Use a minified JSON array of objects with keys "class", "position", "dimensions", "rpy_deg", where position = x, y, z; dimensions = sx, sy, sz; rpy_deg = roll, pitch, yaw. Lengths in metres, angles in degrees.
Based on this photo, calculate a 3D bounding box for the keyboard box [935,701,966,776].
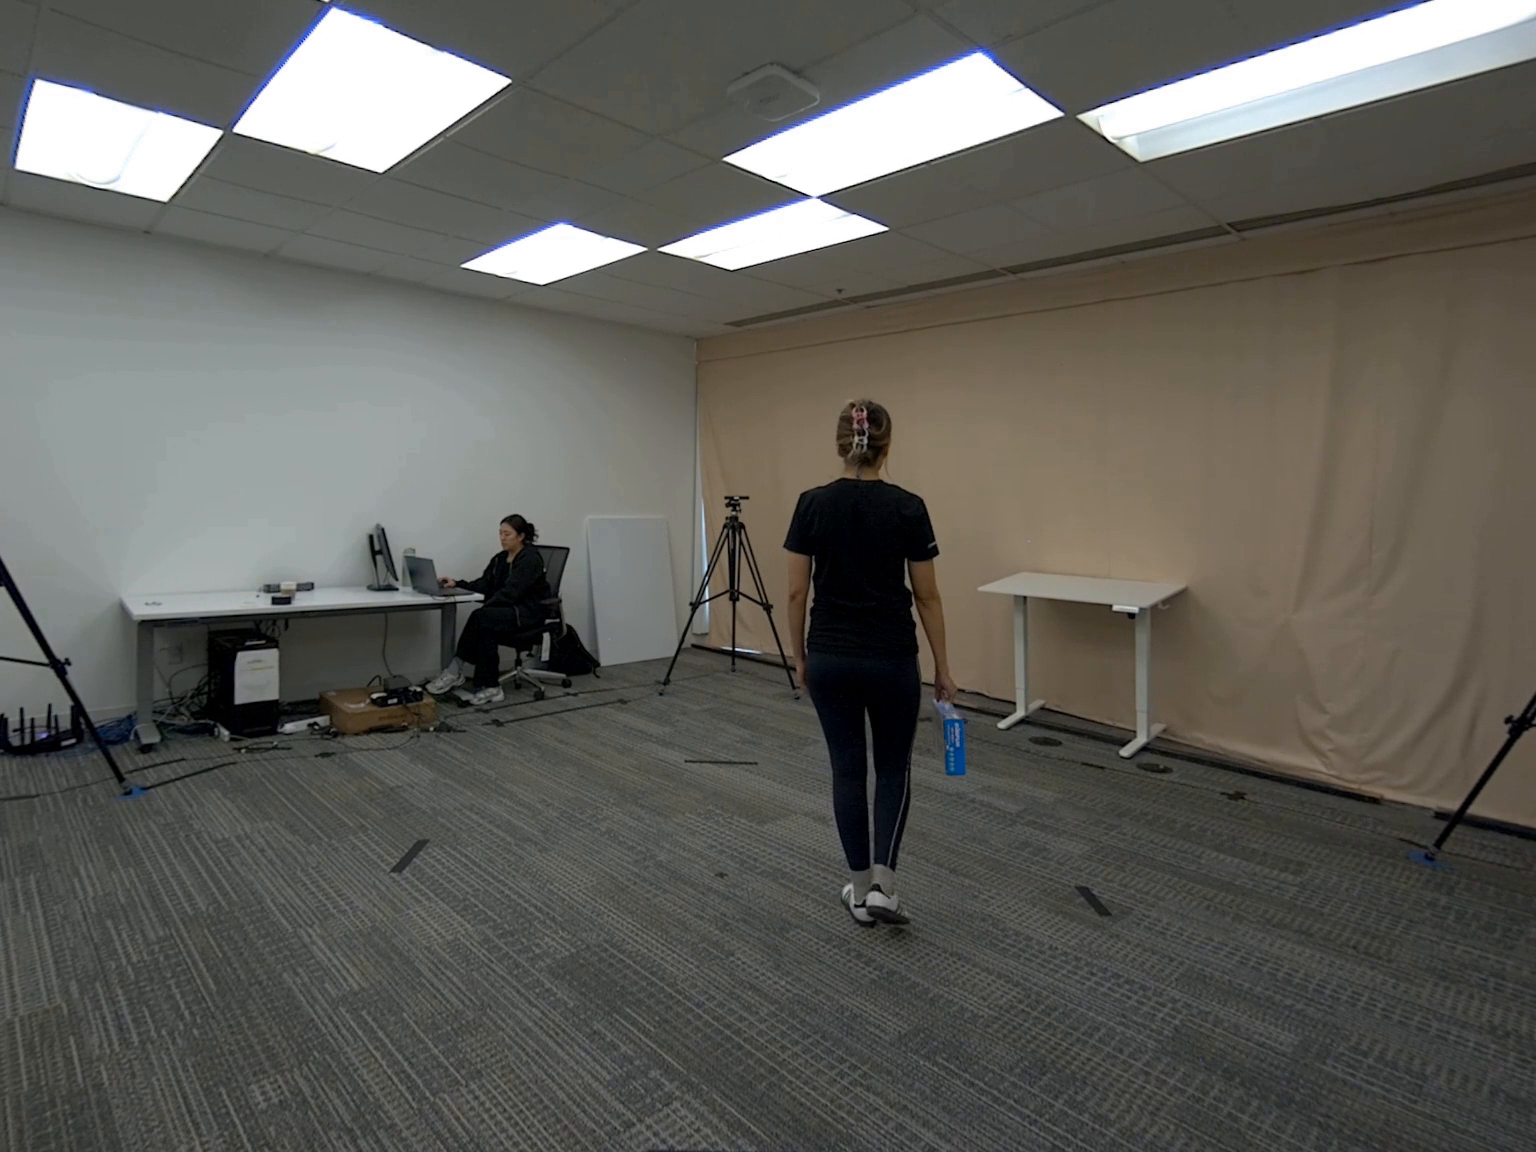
[{"class":"keyboard box","position":[0.586,0.523,2.807],"dimensions":[0.059,0.176,0.434],"rpy_deg":[-2,0,6]}]
